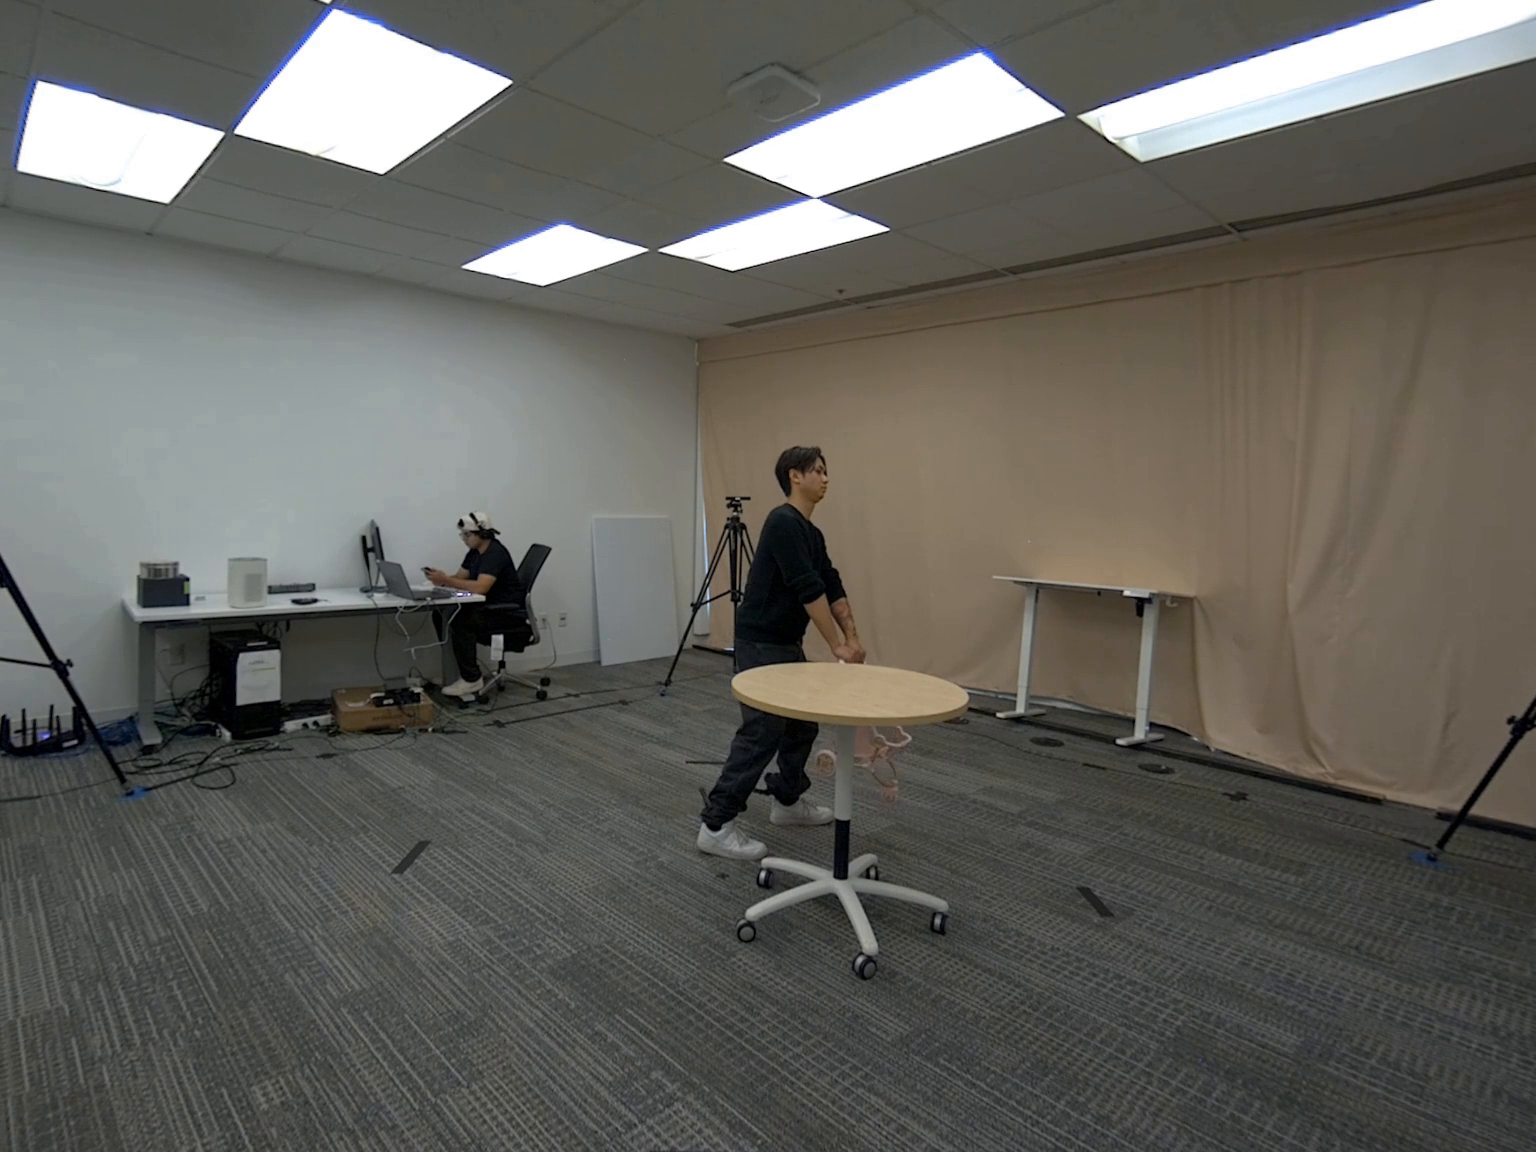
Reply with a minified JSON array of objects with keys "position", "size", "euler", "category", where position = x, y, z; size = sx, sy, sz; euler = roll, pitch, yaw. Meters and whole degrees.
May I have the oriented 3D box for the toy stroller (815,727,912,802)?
[{"position":[0.402,0.611,3.358],"size":[0.351,0.533,0.275],"euler":[15,7,35],"category":"toy stroller"}]
